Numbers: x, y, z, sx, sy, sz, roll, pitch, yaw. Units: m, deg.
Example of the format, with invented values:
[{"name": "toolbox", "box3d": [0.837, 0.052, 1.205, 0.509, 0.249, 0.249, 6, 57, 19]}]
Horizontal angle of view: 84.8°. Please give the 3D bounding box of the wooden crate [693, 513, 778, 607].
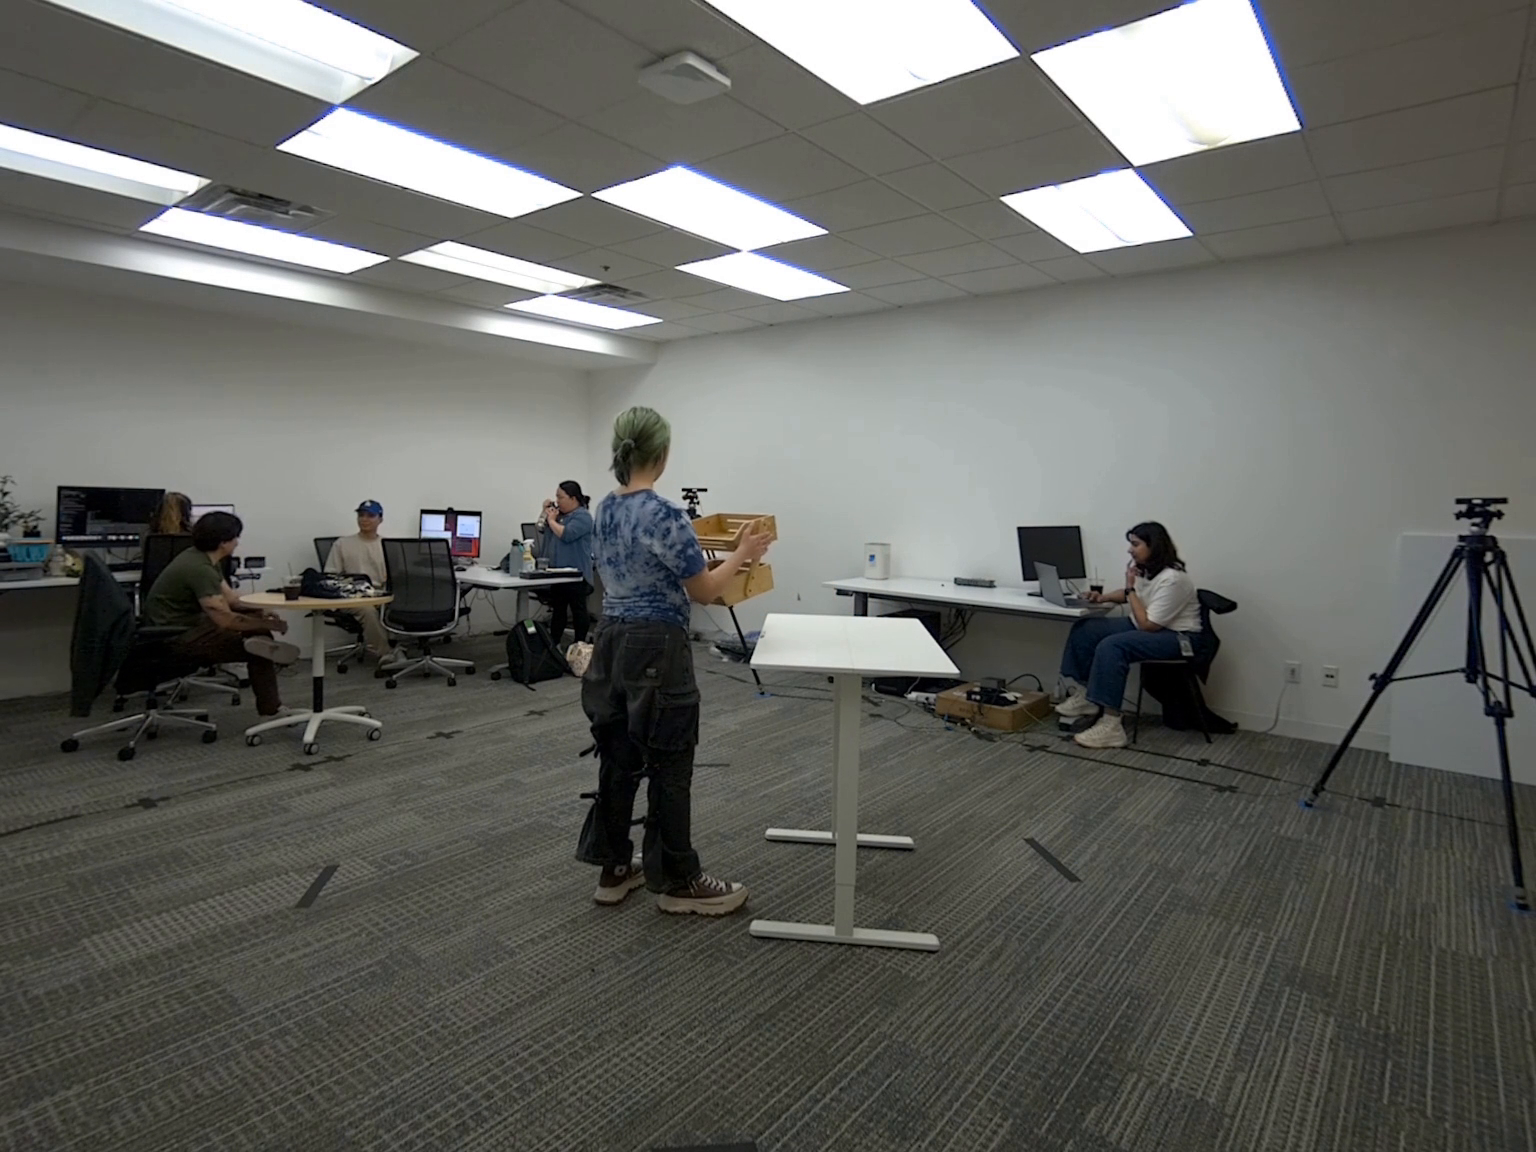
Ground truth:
[{"name": "wooden crate", "box3d": [-0.181, -0.070, 3.066, 0.296, 0.270, 0.335, -19, 17, -41]}]
